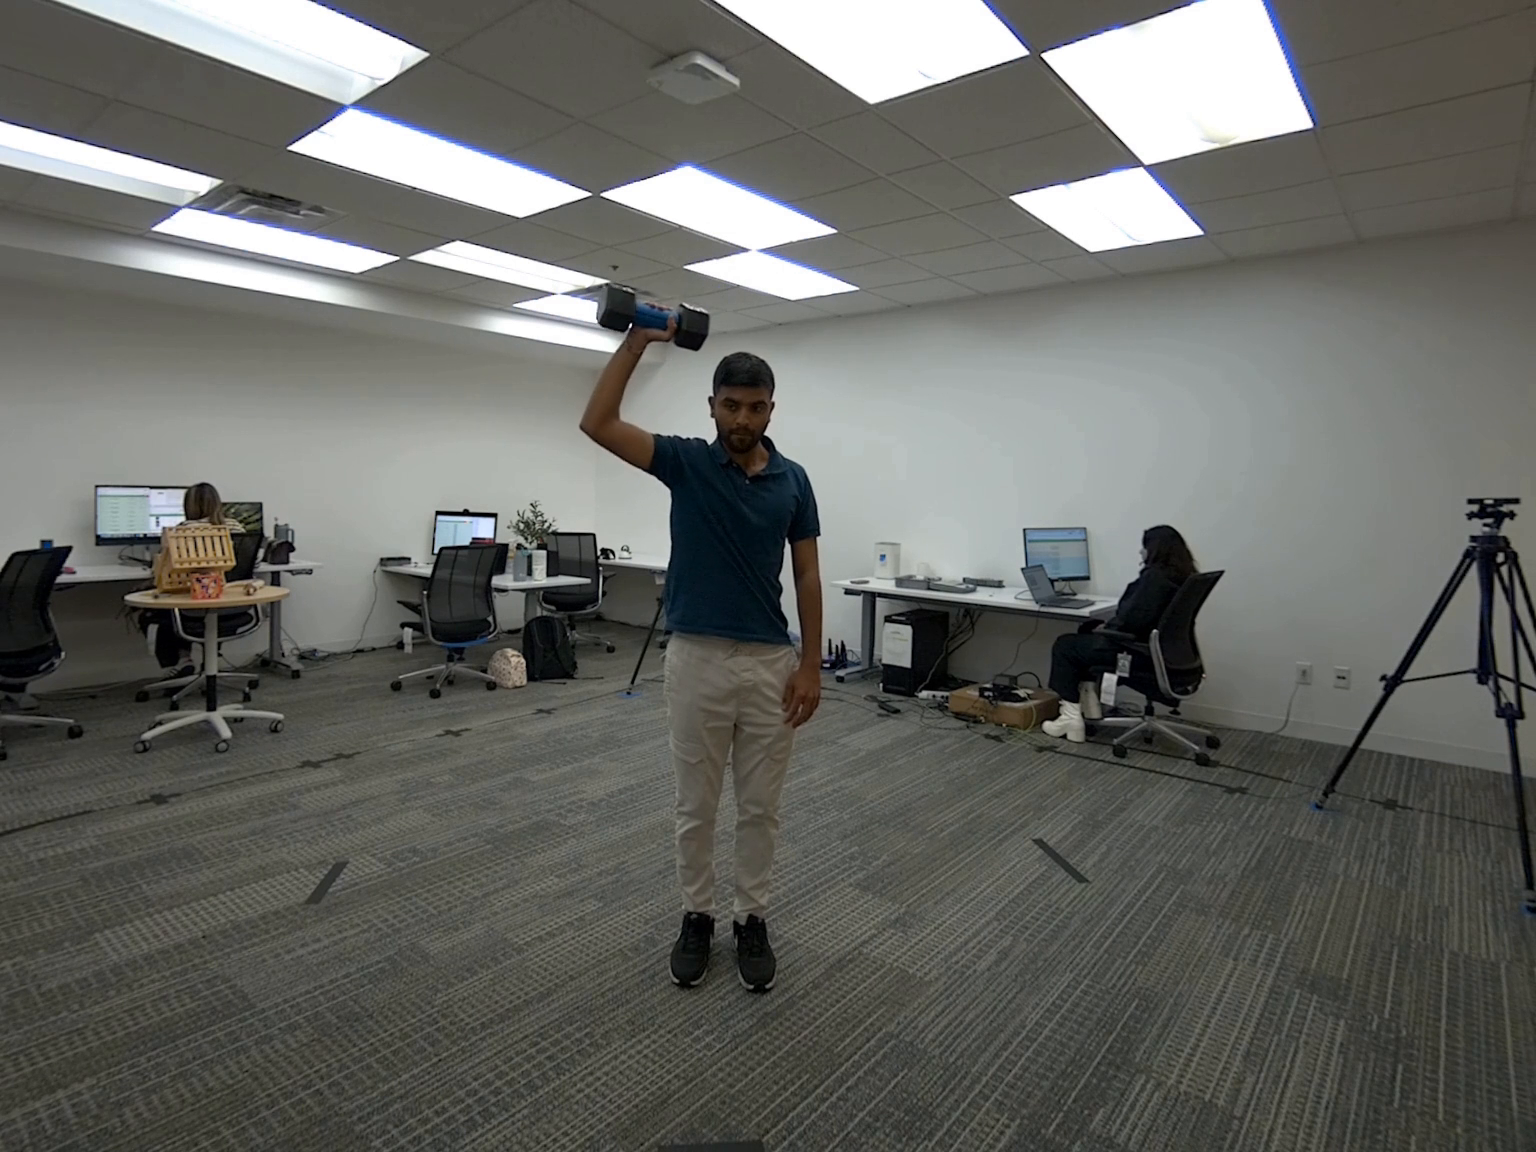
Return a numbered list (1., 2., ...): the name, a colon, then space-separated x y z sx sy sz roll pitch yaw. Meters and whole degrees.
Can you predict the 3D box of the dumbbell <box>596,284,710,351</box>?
1. dumbbell: -0.307 -0.689 2.253 0.286 0.107 0.127 9 21 -24
